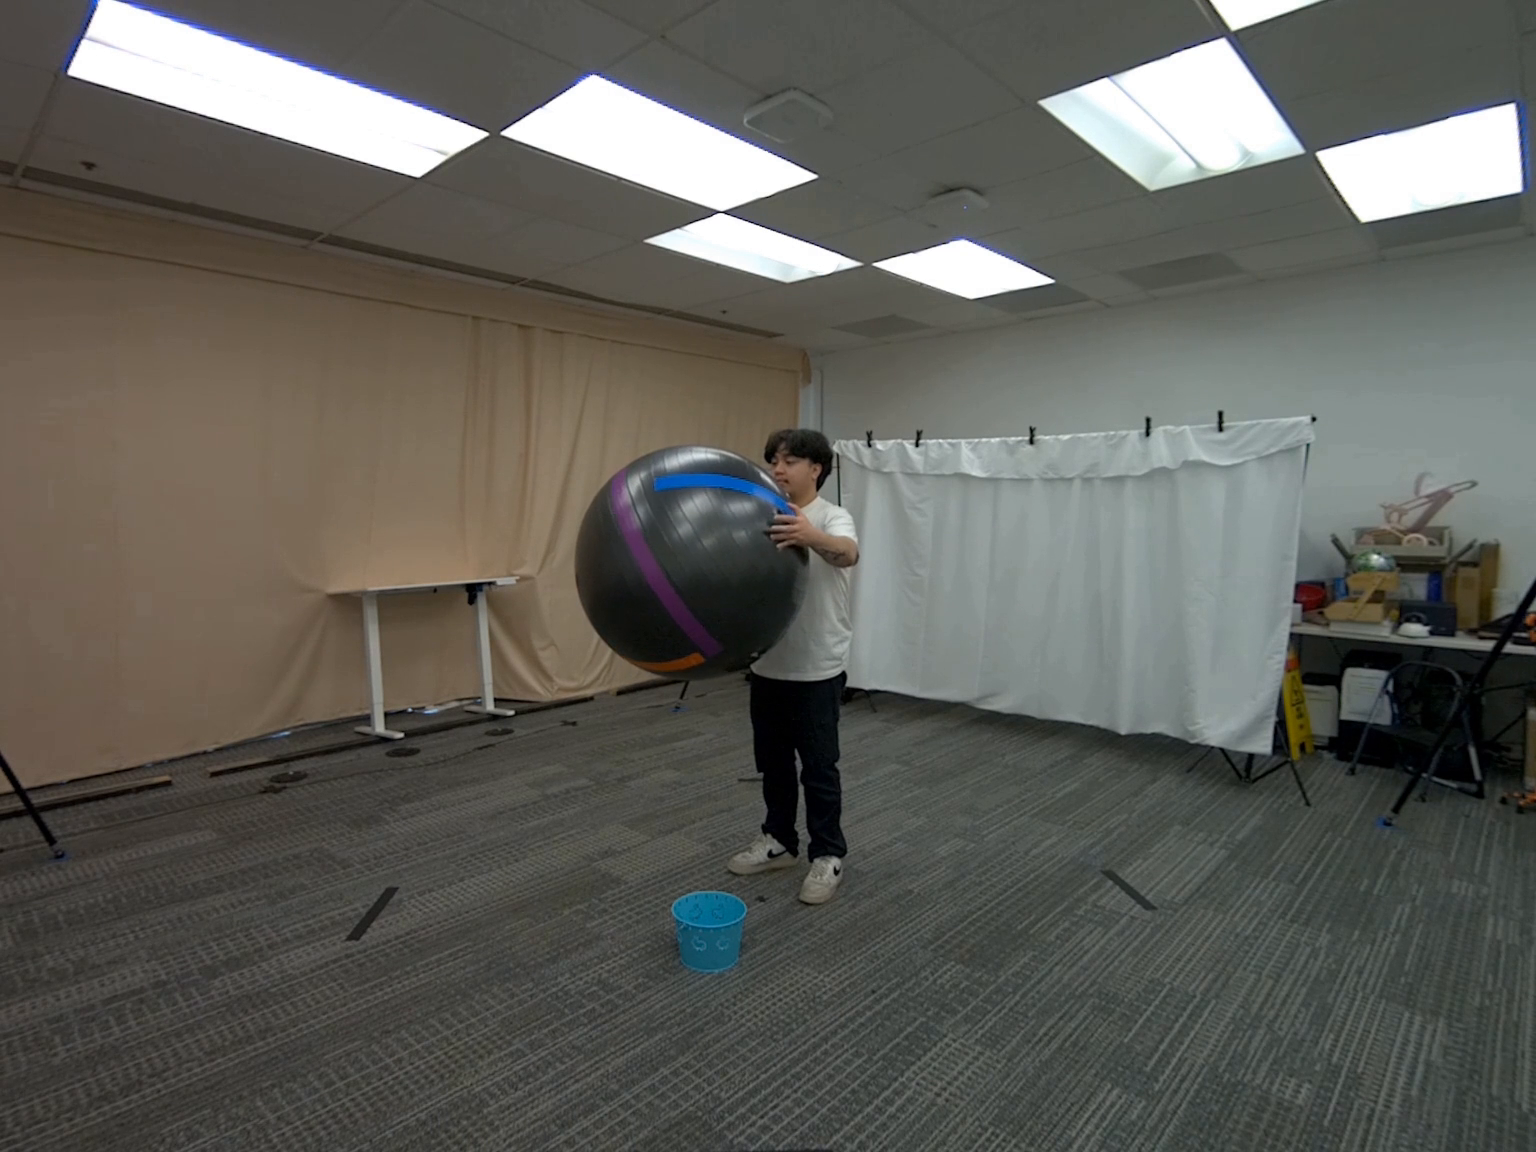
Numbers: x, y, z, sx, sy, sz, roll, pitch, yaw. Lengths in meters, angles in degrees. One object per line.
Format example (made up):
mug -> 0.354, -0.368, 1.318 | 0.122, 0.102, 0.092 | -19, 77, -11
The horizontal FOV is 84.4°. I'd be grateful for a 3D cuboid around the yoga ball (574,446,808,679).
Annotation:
yoga ball -> -0.246, -0.038, 2.742 | 0.757, 0.756, 0.760 | 0, 4, -2
